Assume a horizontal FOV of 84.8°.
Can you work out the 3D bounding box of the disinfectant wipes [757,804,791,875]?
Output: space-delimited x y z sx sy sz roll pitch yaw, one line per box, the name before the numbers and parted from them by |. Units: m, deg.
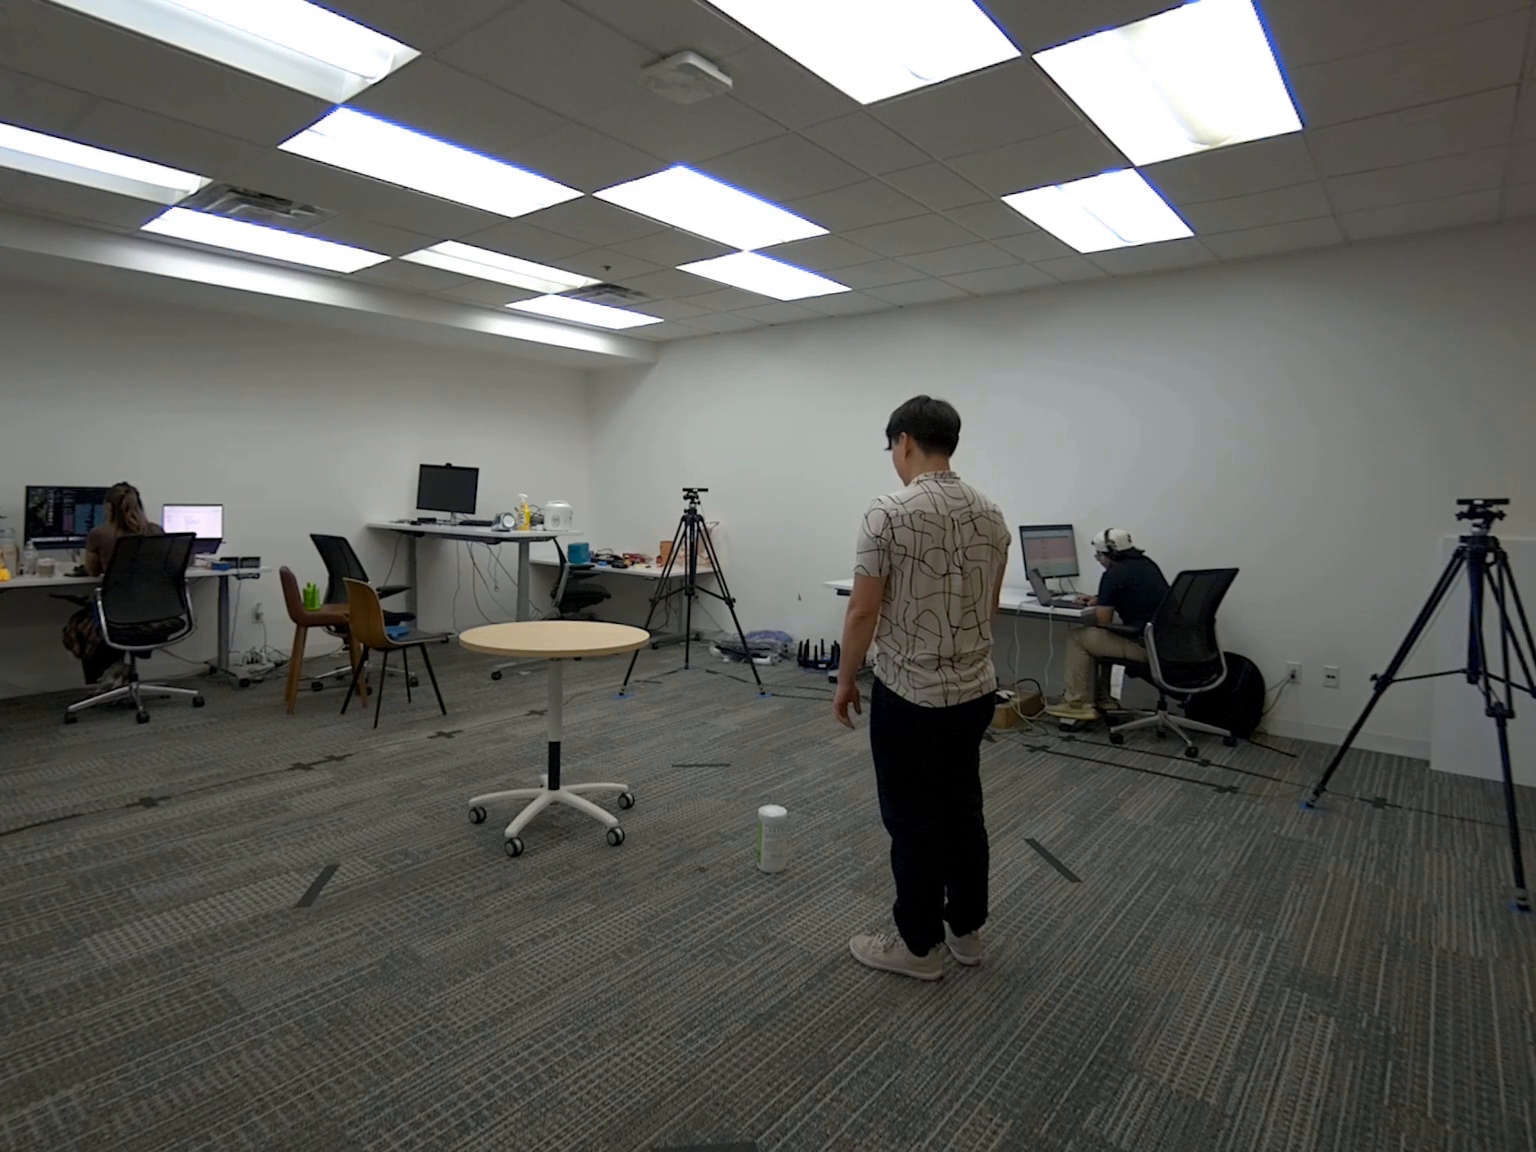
disinfectant wipes | 0.013 0.965 3.132 0.118 0.217 0.118 0 4 -2
